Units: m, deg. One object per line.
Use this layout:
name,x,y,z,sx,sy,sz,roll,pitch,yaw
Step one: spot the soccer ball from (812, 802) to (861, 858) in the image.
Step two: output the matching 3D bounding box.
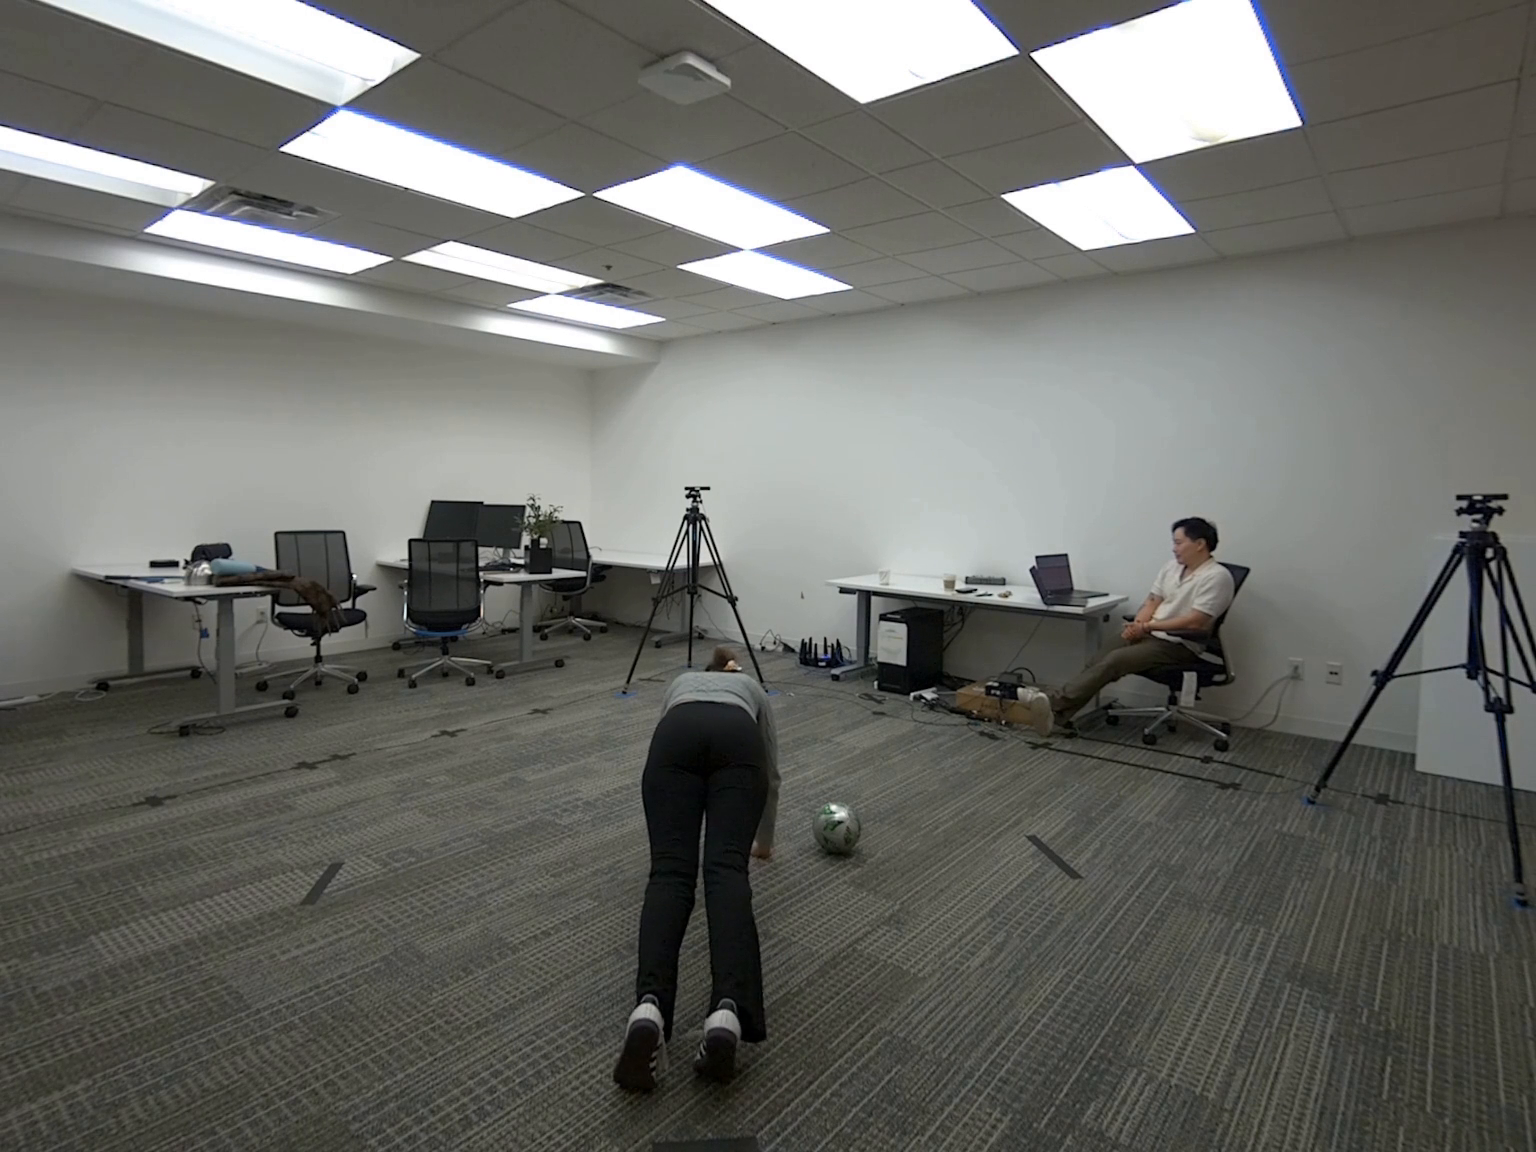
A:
soccer ball,0.256,0.966,3.271,0.187,0.187,0.188,1,4,-2
